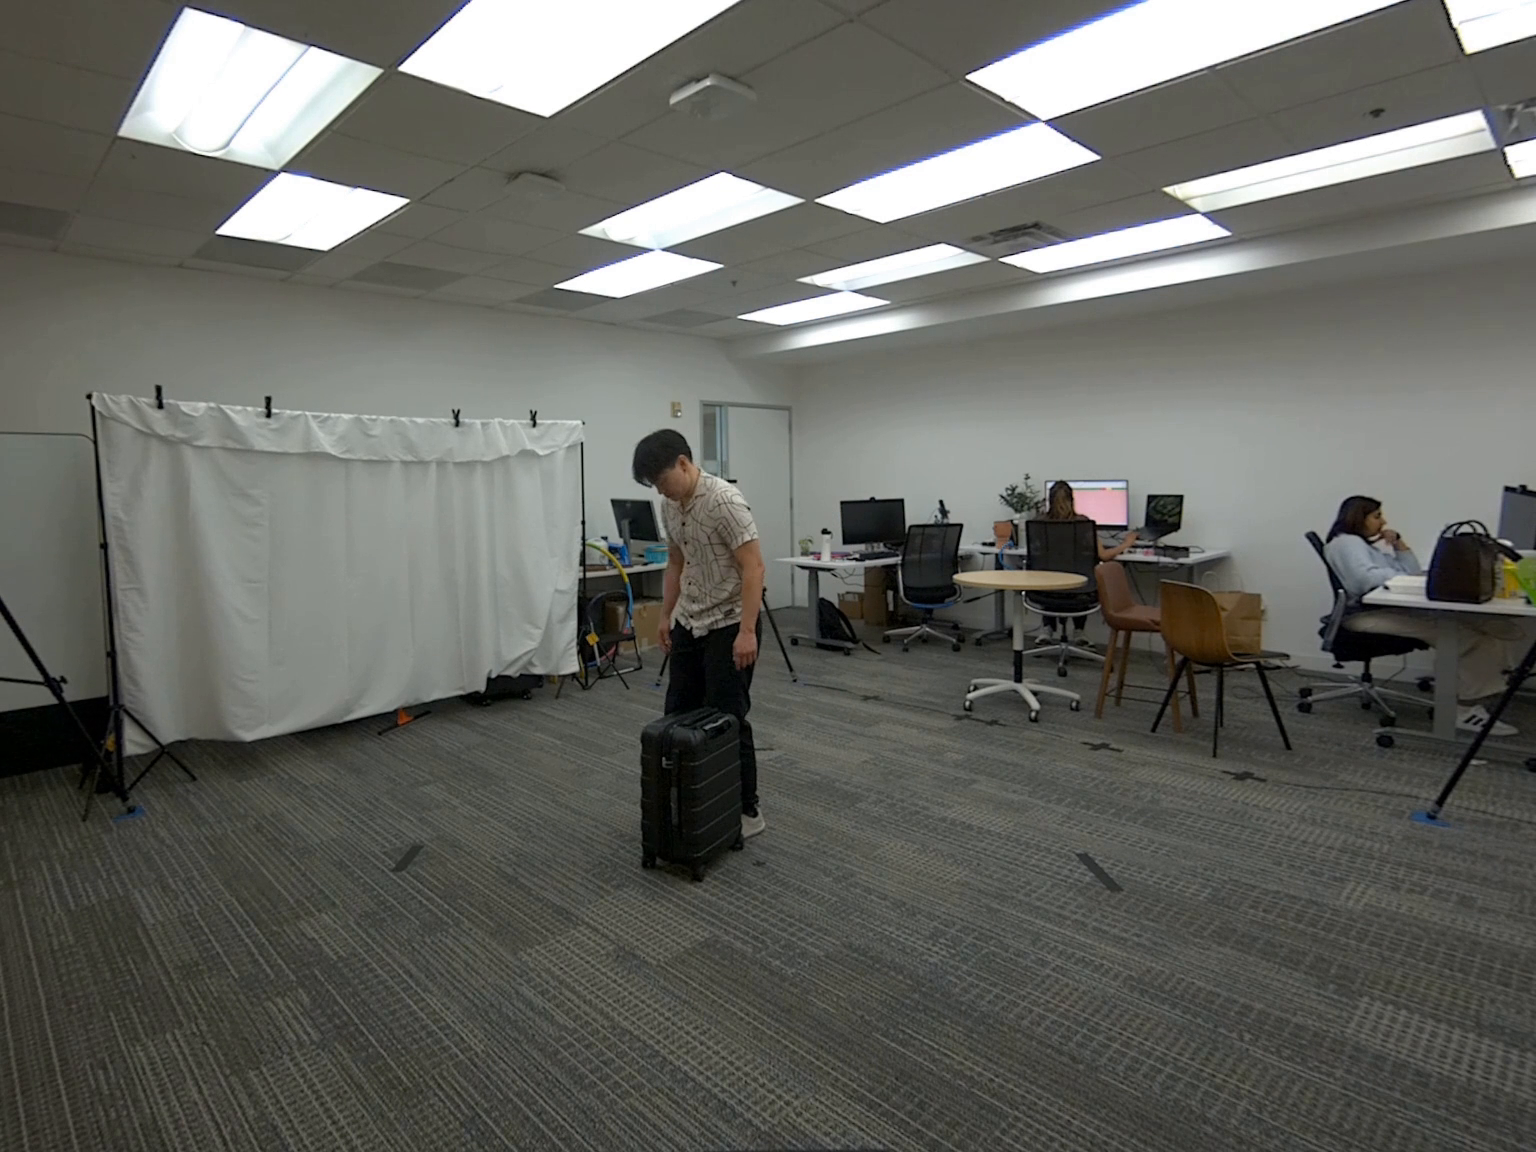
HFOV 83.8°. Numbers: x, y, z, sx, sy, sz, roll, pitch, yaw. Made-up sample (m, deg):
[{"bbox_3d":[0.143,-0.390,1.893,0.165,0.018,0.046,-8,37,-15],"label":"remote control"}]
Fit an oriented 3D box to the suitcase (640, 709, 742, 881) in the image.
[{"bbox_3d":[-0.283,0.778,3.130,0.255,0.547,0.367,2,6,28],"label":"suitcase"}]
